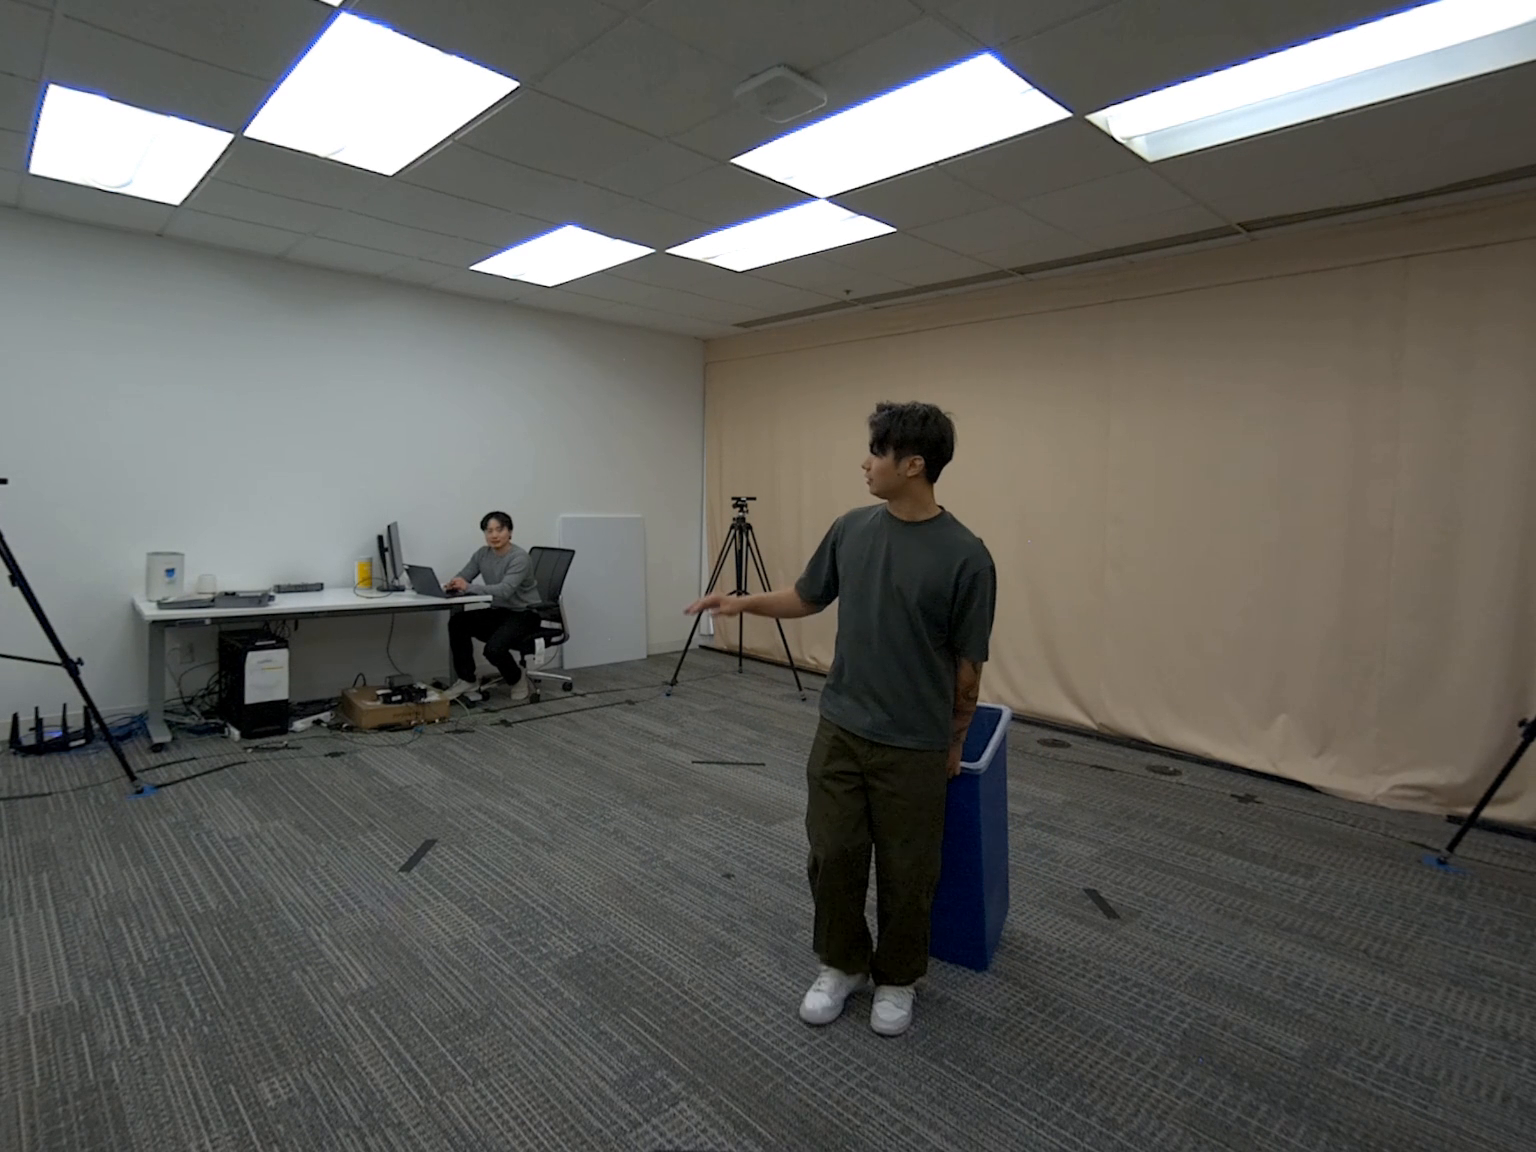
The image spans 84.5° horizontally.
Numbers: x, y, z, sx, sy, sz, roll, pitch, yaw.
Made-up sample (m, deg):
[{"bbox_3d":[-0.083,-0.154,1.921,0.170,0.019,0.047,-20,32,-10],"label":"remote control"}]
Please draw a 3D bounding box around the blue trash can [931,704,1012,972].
[{"bbox_3d":[0.552,0.786,2.591,0.382,0.704,0.375,2,19,31],"label":"blue trash can"}]
